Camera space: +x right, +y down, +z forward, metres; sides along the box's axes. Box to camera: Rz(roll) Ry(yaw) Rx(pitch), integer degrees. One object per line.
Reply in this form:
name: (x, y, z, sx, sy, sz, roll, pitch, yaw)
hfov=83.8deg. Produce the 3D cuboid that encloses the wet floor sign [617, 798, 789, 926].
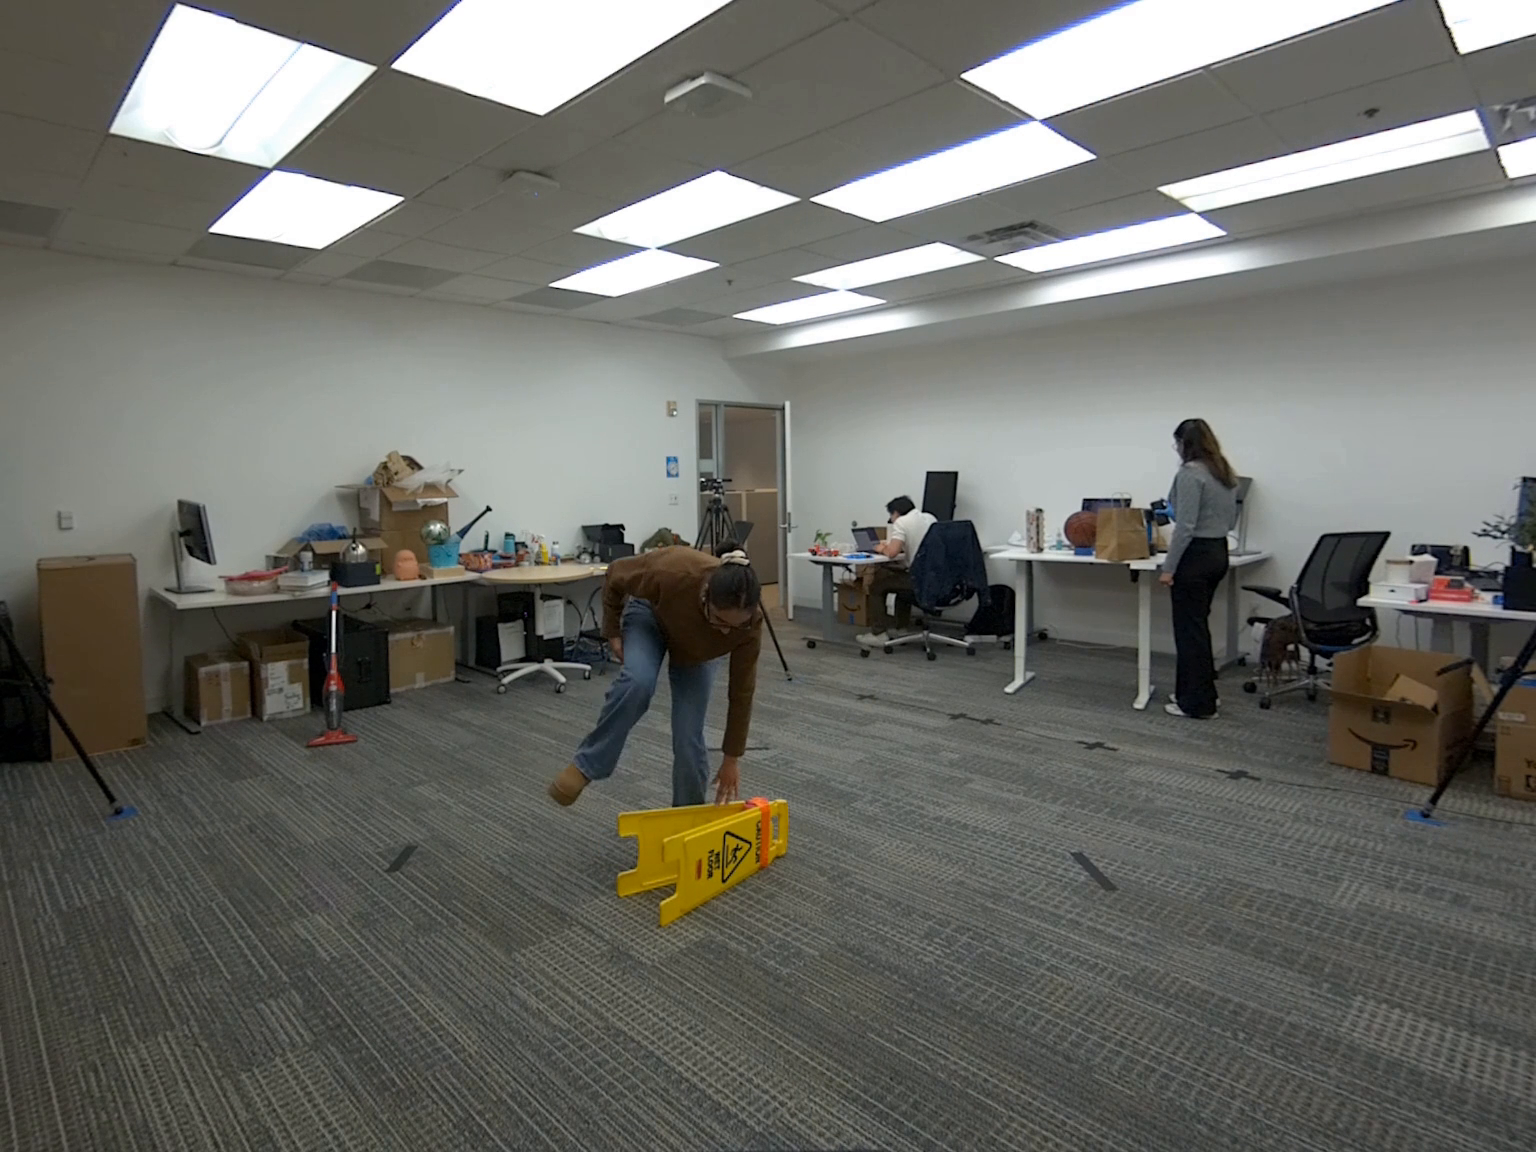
wet floor sign: (-0.179, 0.936, 2.968, 0.628, 0.281, 0.299, -3, 5, -40)
